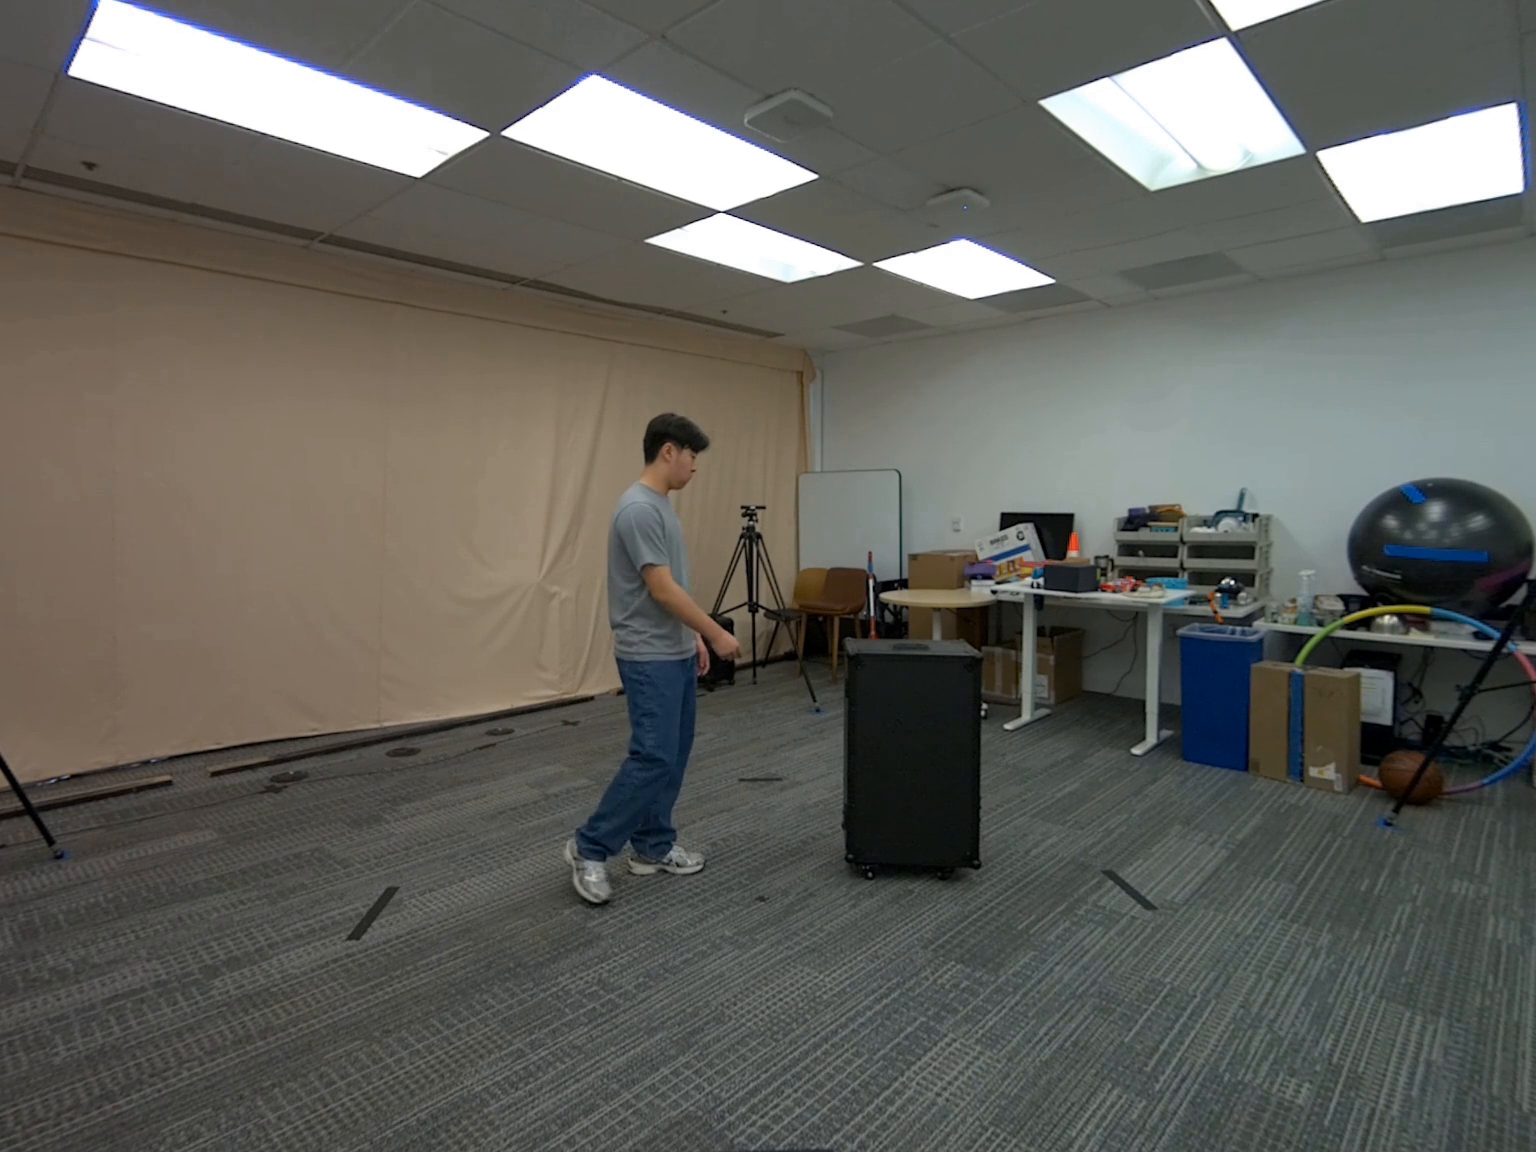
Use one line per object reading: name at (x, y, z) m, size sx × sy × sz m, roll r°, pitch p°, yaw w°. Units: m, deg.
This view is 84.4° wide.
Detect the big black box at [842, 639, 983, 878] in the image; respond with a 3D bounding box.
big black box at (0.542, 0.692, 3.254) m, size 0.525 × 0.860 × 0.394 m, roll 1°, pitch 2°, yaw 5°
